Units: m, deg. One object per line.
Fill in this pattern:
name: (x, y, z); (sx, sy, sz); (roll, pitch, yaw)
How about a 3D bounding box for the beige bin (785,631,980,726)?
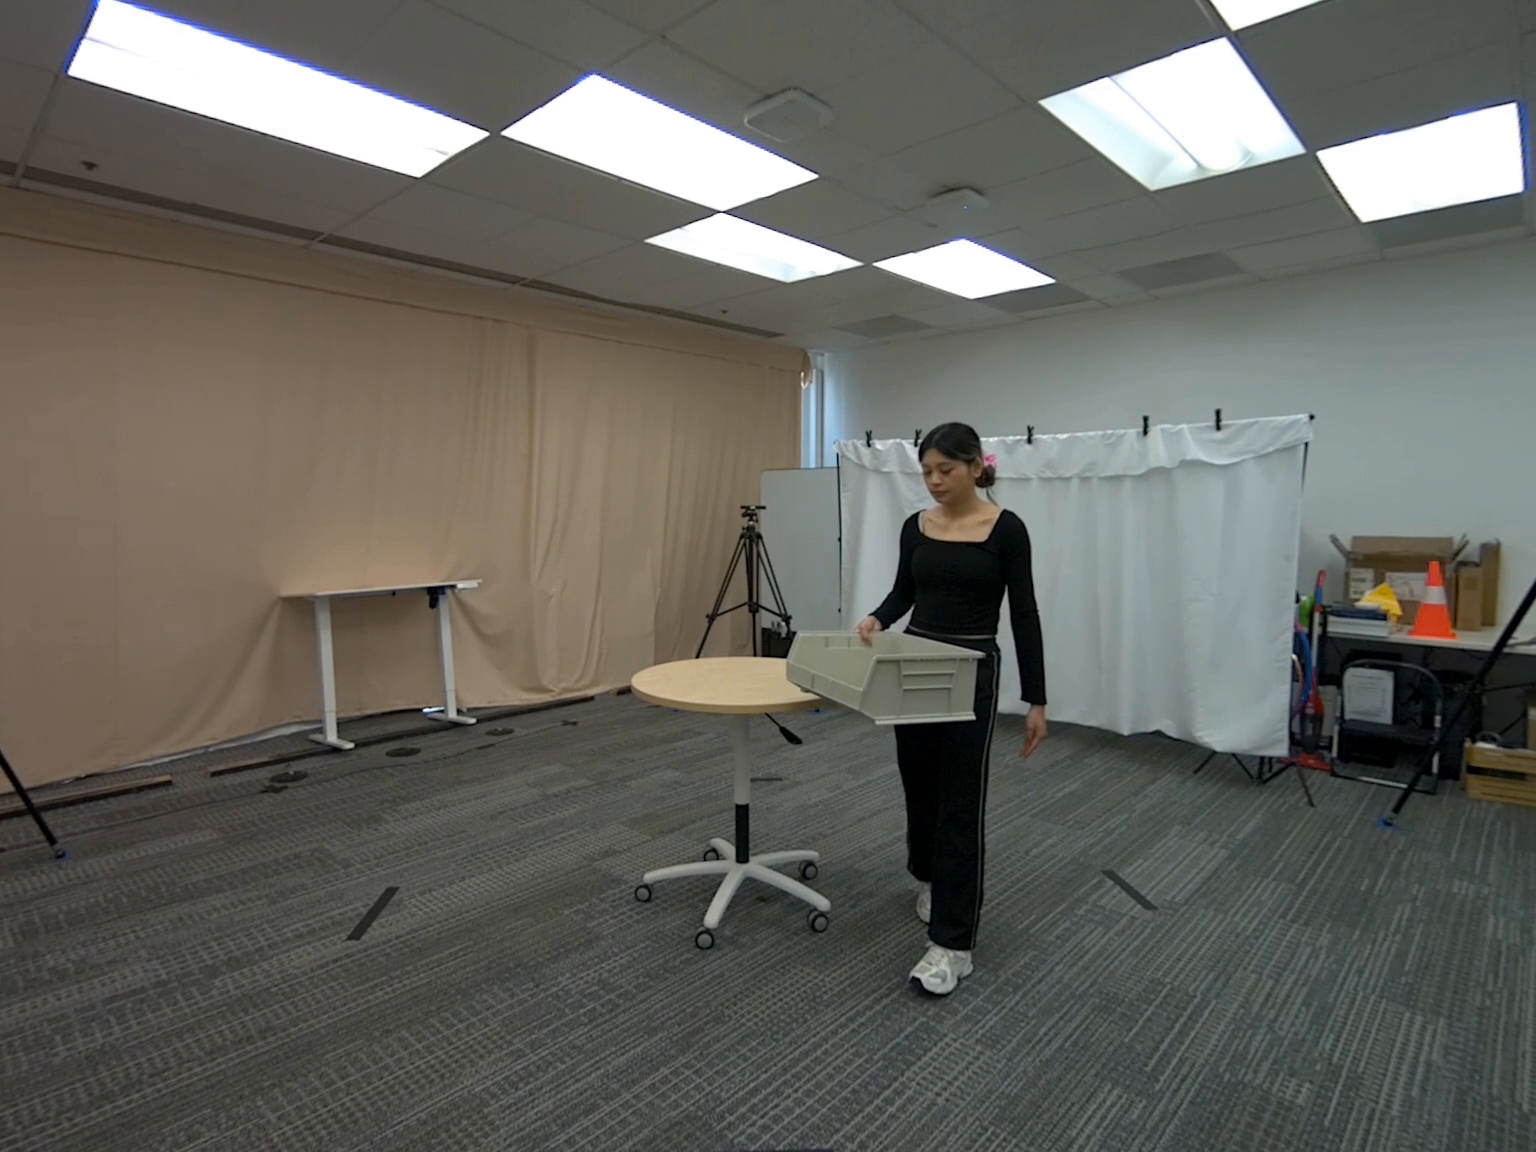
beige bin: (0.323, 0.275, 2.363); (0.368, 0.189, 0.433); (3, 2, -25)
